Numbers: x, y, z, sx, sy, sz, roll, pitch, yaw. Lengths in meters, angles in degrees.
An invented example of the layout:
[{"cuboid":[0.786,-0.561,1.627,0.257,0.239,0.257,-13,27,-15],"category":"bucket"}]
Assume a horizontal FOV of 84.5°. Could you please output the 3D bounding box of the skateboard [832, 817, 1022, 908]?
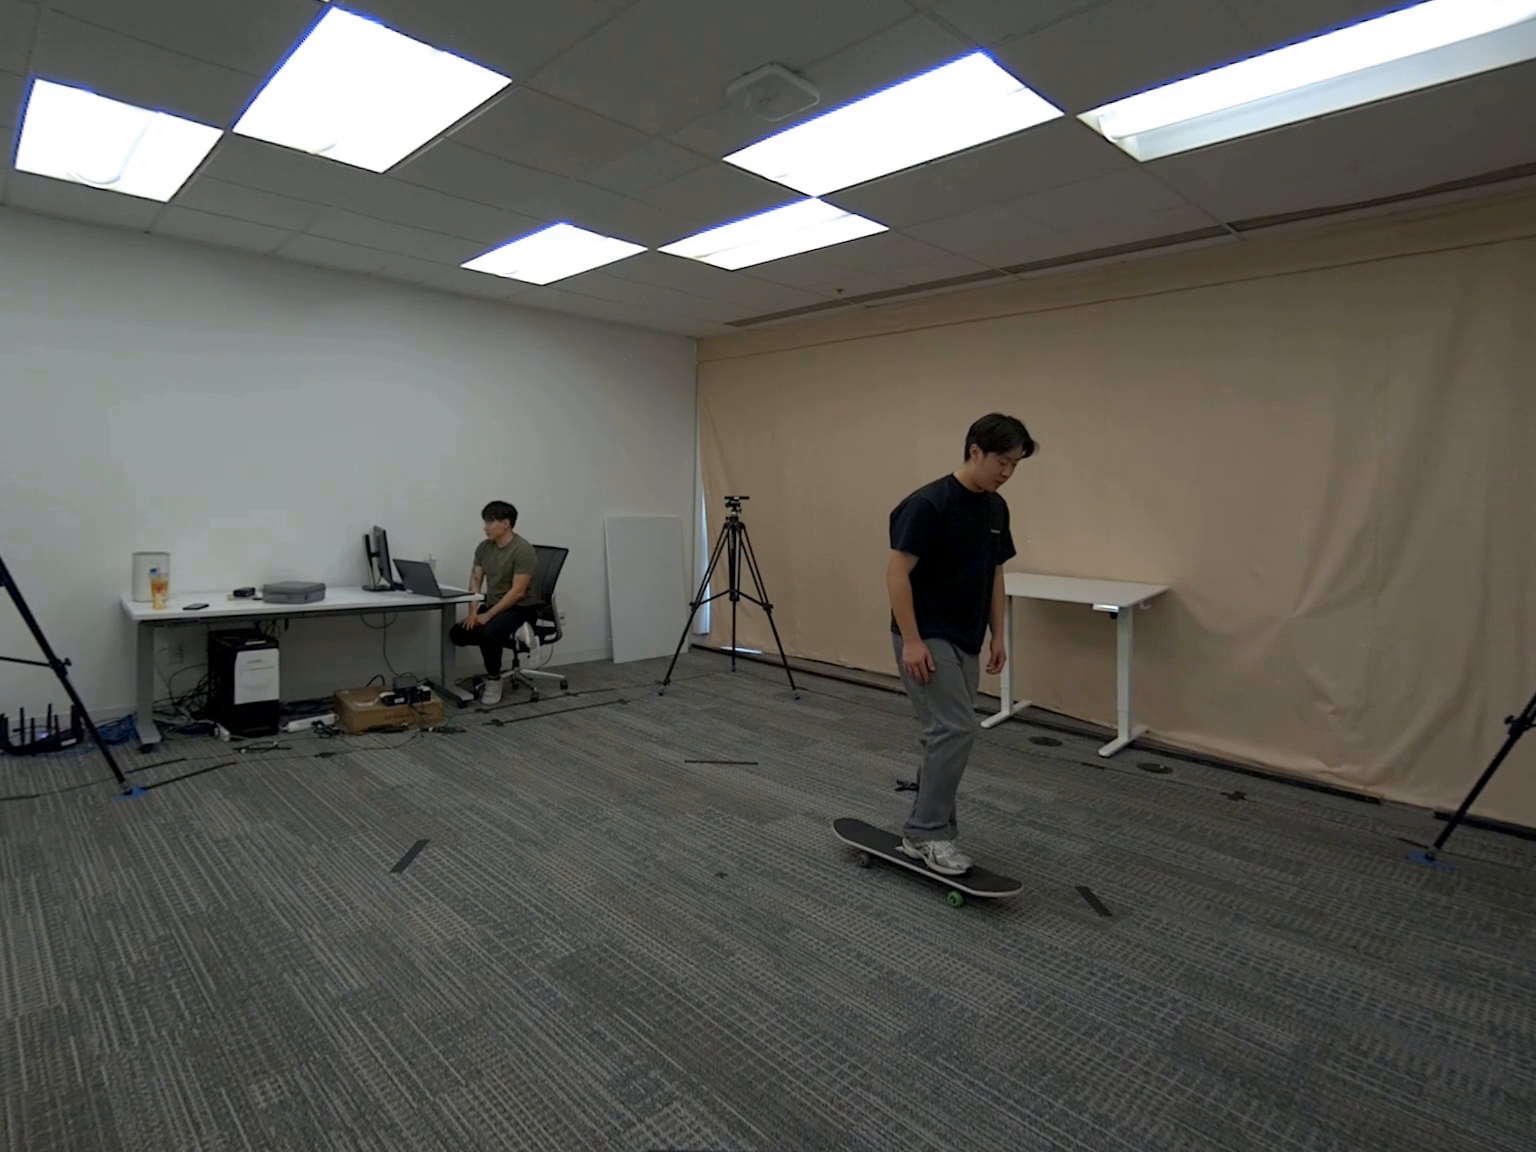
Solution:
[{"cuboid":[0.545,1.071,3.107,0.189,0.110,0.806,-3,7,-44],"category":"skateboard"}]
